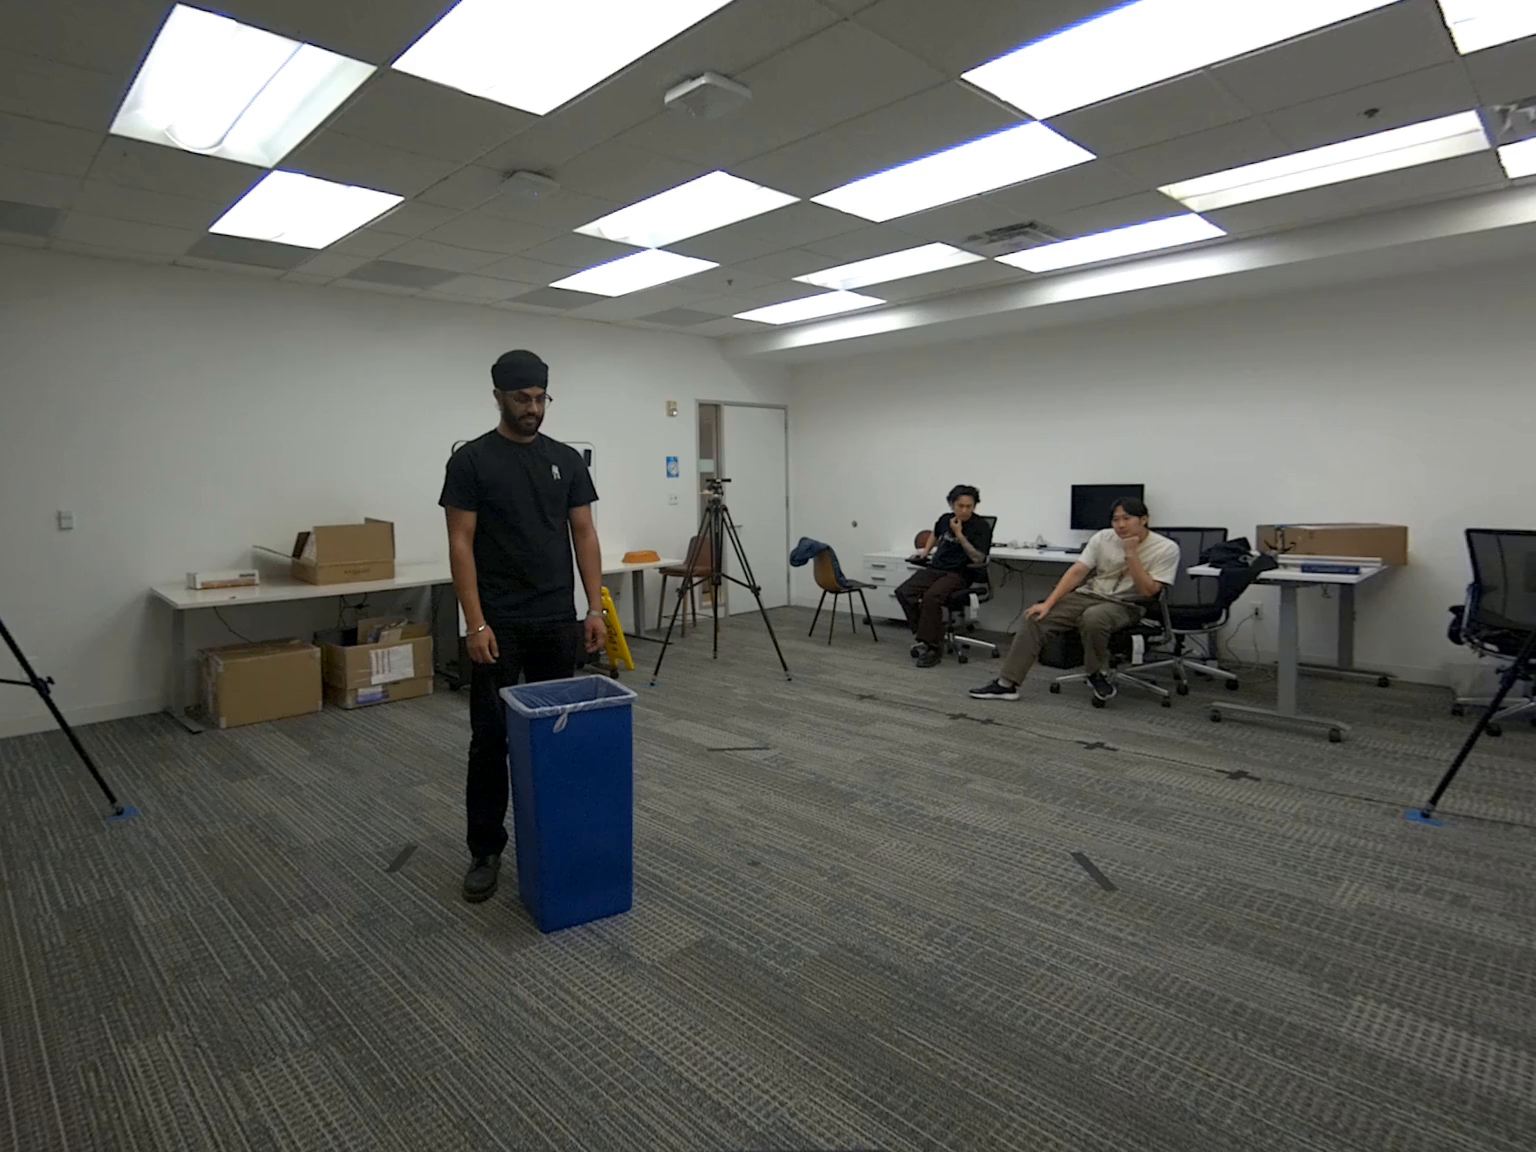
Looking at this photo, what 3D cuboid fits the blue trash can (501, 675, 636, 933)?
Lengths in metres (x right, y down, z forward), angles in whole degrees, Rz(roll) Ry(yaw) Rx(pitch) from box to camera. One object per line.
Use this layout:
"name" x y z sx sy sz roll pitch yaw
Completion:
"blue trash can" -0.656 0.731 2.825 0.369 0.711 0.384 -3 5 -30
